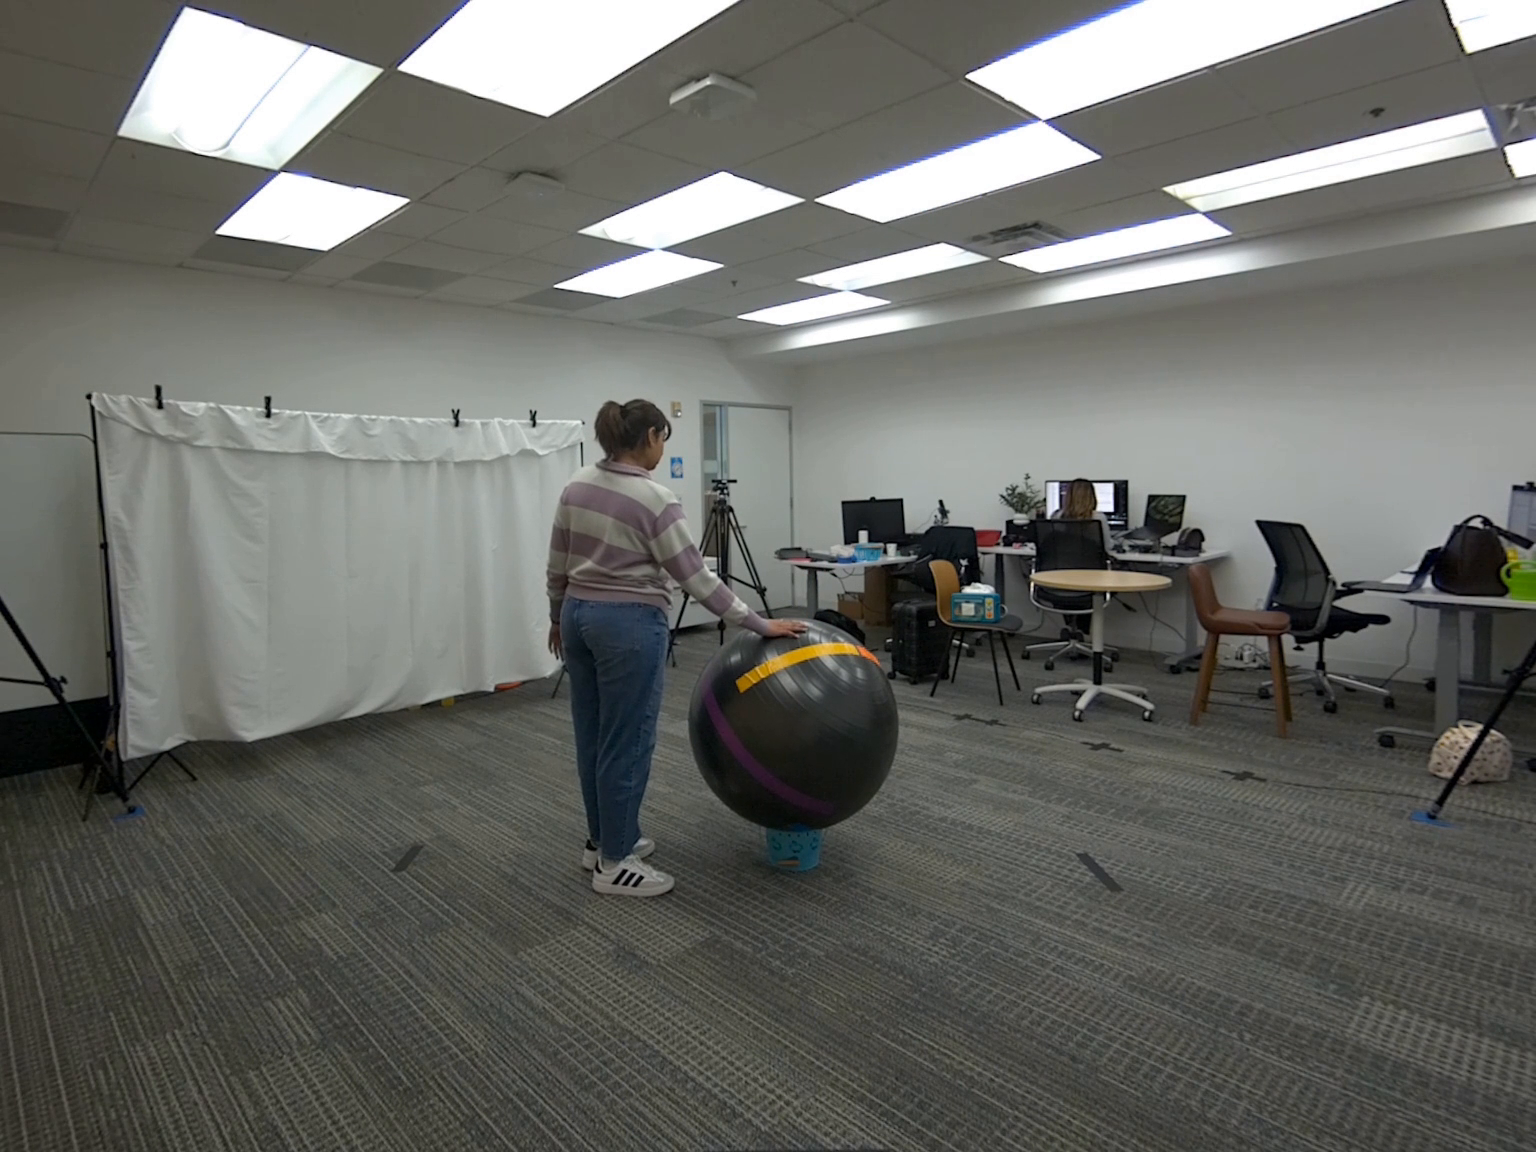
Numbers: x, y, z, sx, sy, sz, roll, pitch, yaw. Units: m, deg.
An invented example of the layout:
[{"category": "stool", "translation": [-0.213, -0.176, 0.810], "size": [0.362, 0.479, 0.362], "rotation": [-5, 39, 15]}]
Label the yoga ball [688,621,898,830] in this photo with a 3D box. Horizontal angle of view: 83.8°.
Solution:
[{"category": "yoga ball", "translation": [0.093, 0.531, 3.112], "size": [0.757, 0.755, 0.762], "rotation": [-1, 5, -2]}]
